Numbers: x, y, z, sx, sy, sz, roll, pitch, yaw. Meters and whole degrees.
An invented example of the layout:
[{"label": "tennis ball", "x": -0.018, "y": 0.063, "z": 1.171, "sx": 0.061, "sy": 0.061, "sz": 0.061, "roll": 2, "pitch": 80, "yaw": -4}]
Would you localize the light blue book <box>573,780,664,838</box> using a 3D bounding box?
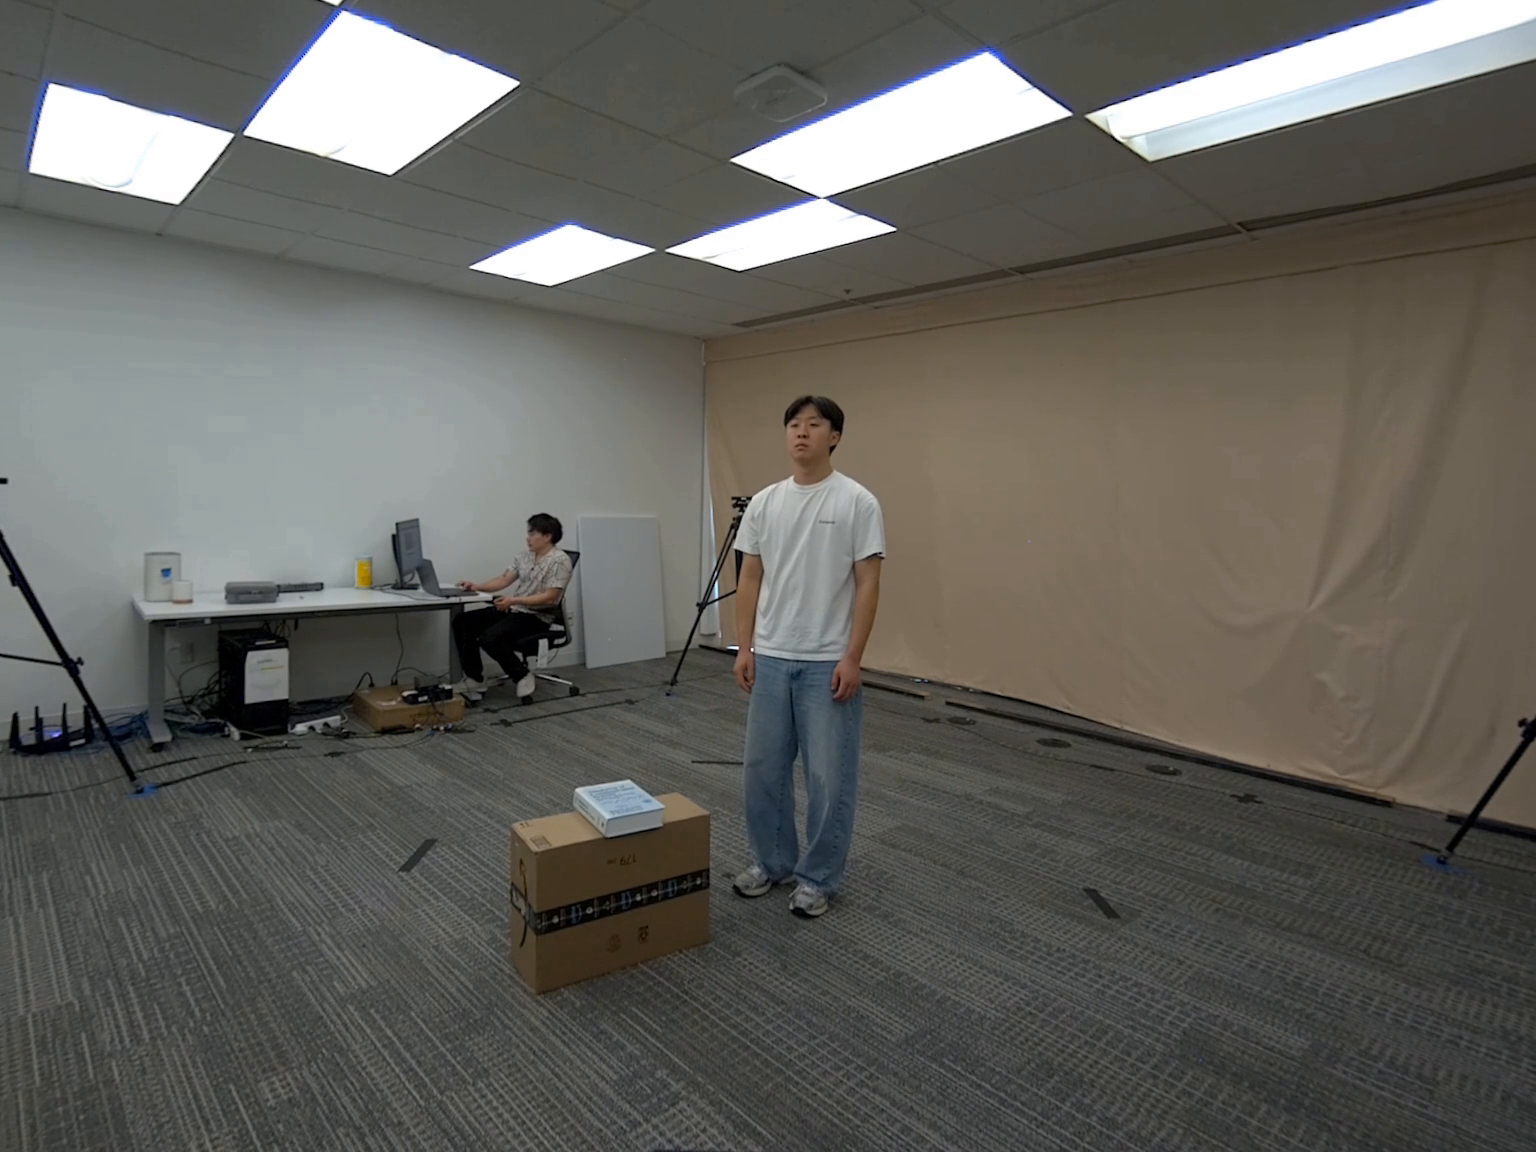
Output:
[{"label": "light blue book", "x": -0.465, "y": 0.707, "z": 2.555, "sx": 0.187, "sy": 0.059, "sz": 0.267, "roll": -1, "pitch": 6, "yaw": -33}]
